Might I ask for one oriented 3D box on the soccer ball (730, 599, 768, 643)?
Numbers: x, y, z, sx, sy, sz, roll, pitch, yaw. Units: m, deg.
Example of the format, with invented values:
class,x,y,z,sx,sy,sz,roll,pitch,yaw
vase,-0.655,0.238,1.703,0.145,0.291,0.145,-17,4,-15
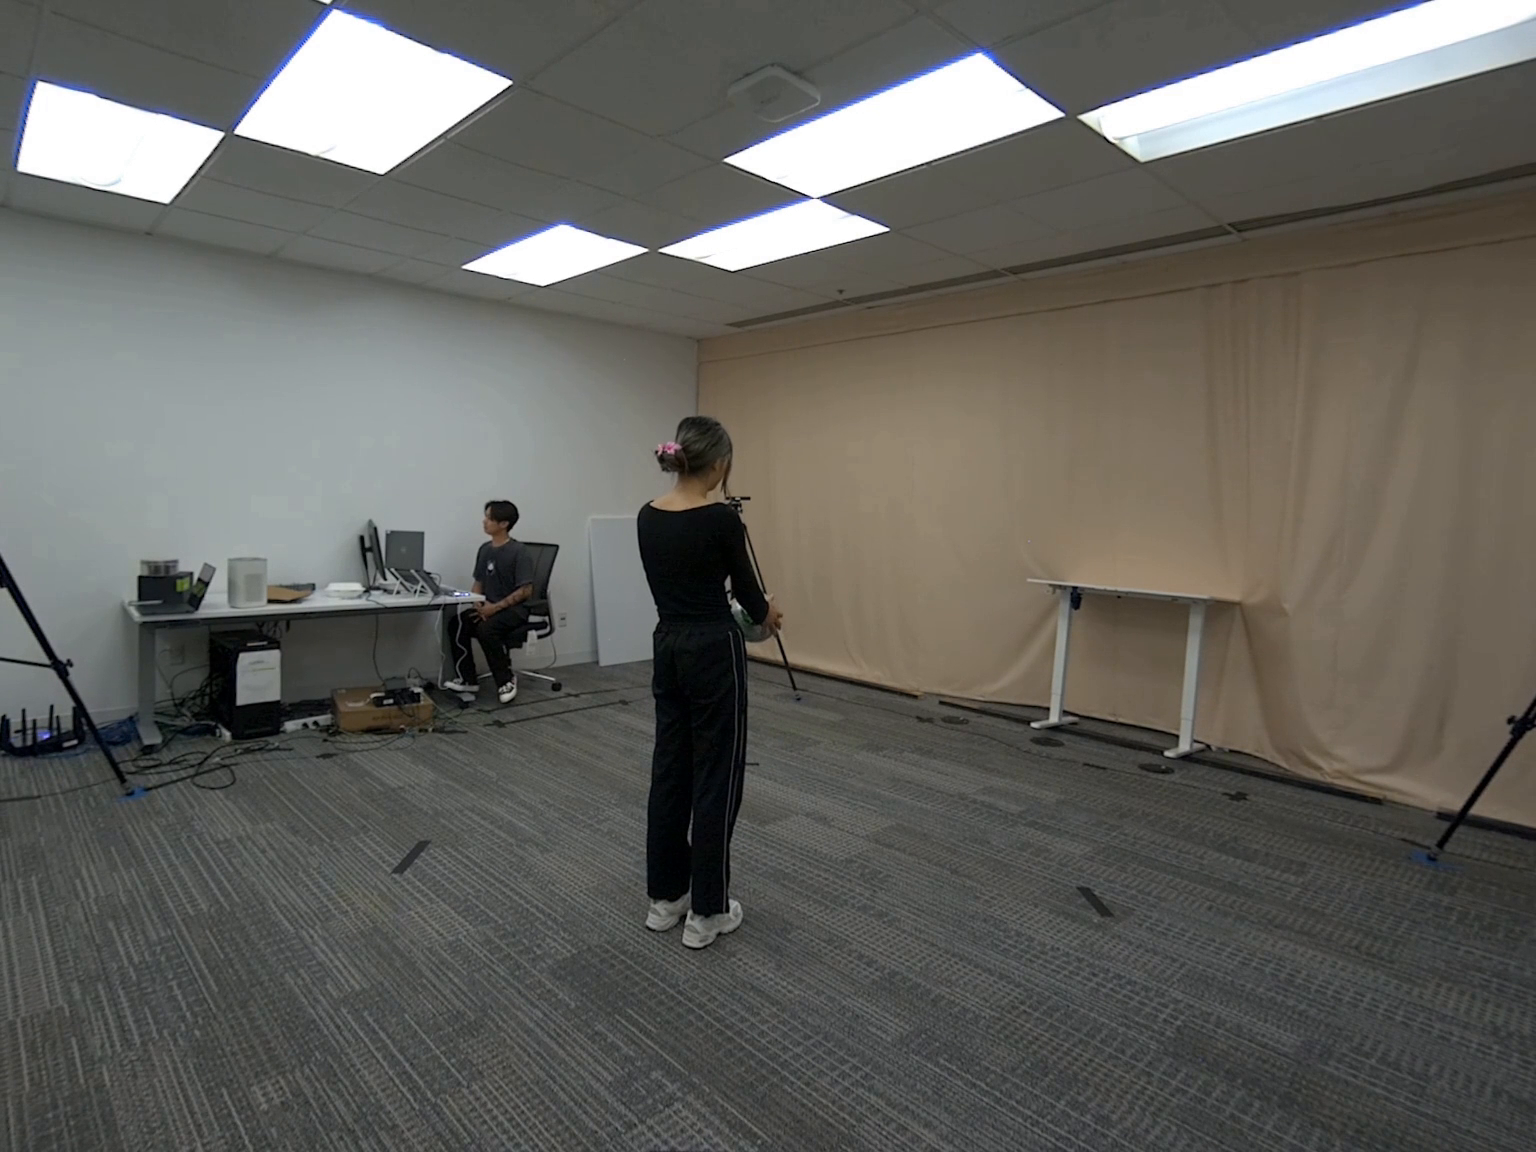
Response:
class,x,y,z,sx,sy,sz,roll,pitch,yaw
soccer ball,-0.050,0.147,3.069,0.187,0.187,0.188,1,4,-1
